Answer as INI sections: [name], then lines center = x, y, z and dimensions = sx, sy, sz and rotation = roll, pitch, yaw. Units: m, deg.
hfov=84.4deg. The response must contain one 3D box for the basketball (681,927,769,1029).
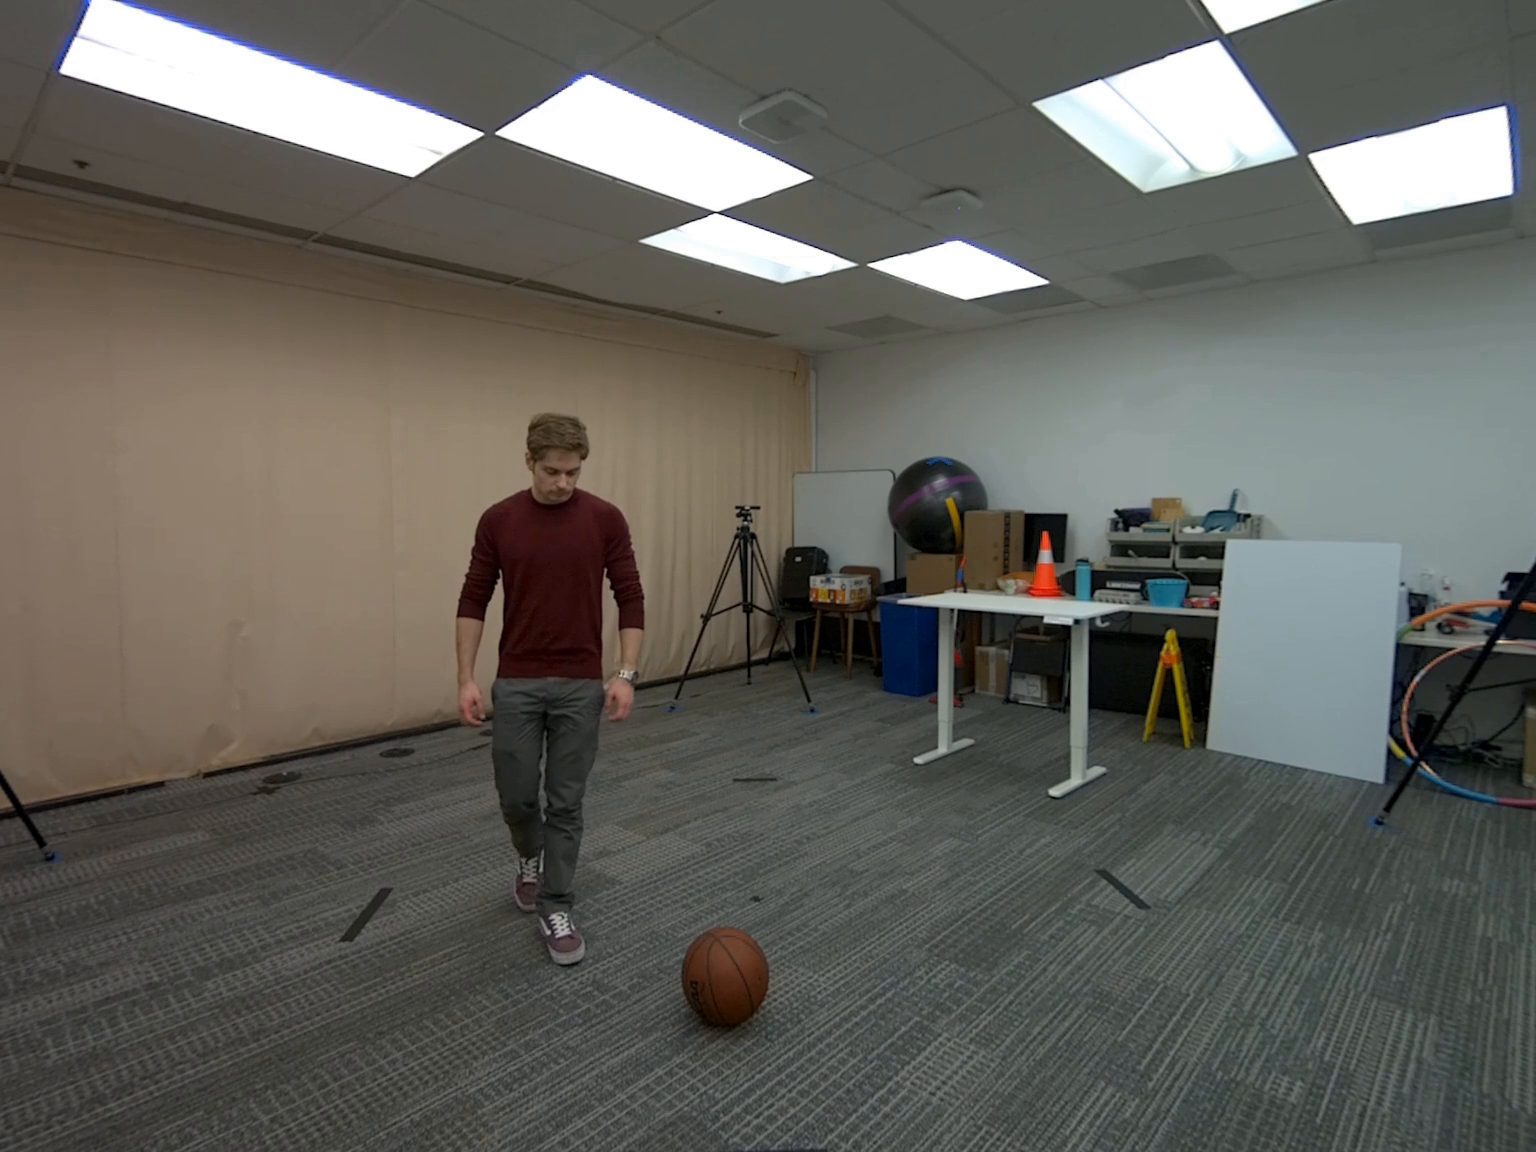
[basketball]
center = -0.114, 1.081, 2.284
dimensions = 0.236, 0.235, 0.237
rotation = 0, 4, -2
